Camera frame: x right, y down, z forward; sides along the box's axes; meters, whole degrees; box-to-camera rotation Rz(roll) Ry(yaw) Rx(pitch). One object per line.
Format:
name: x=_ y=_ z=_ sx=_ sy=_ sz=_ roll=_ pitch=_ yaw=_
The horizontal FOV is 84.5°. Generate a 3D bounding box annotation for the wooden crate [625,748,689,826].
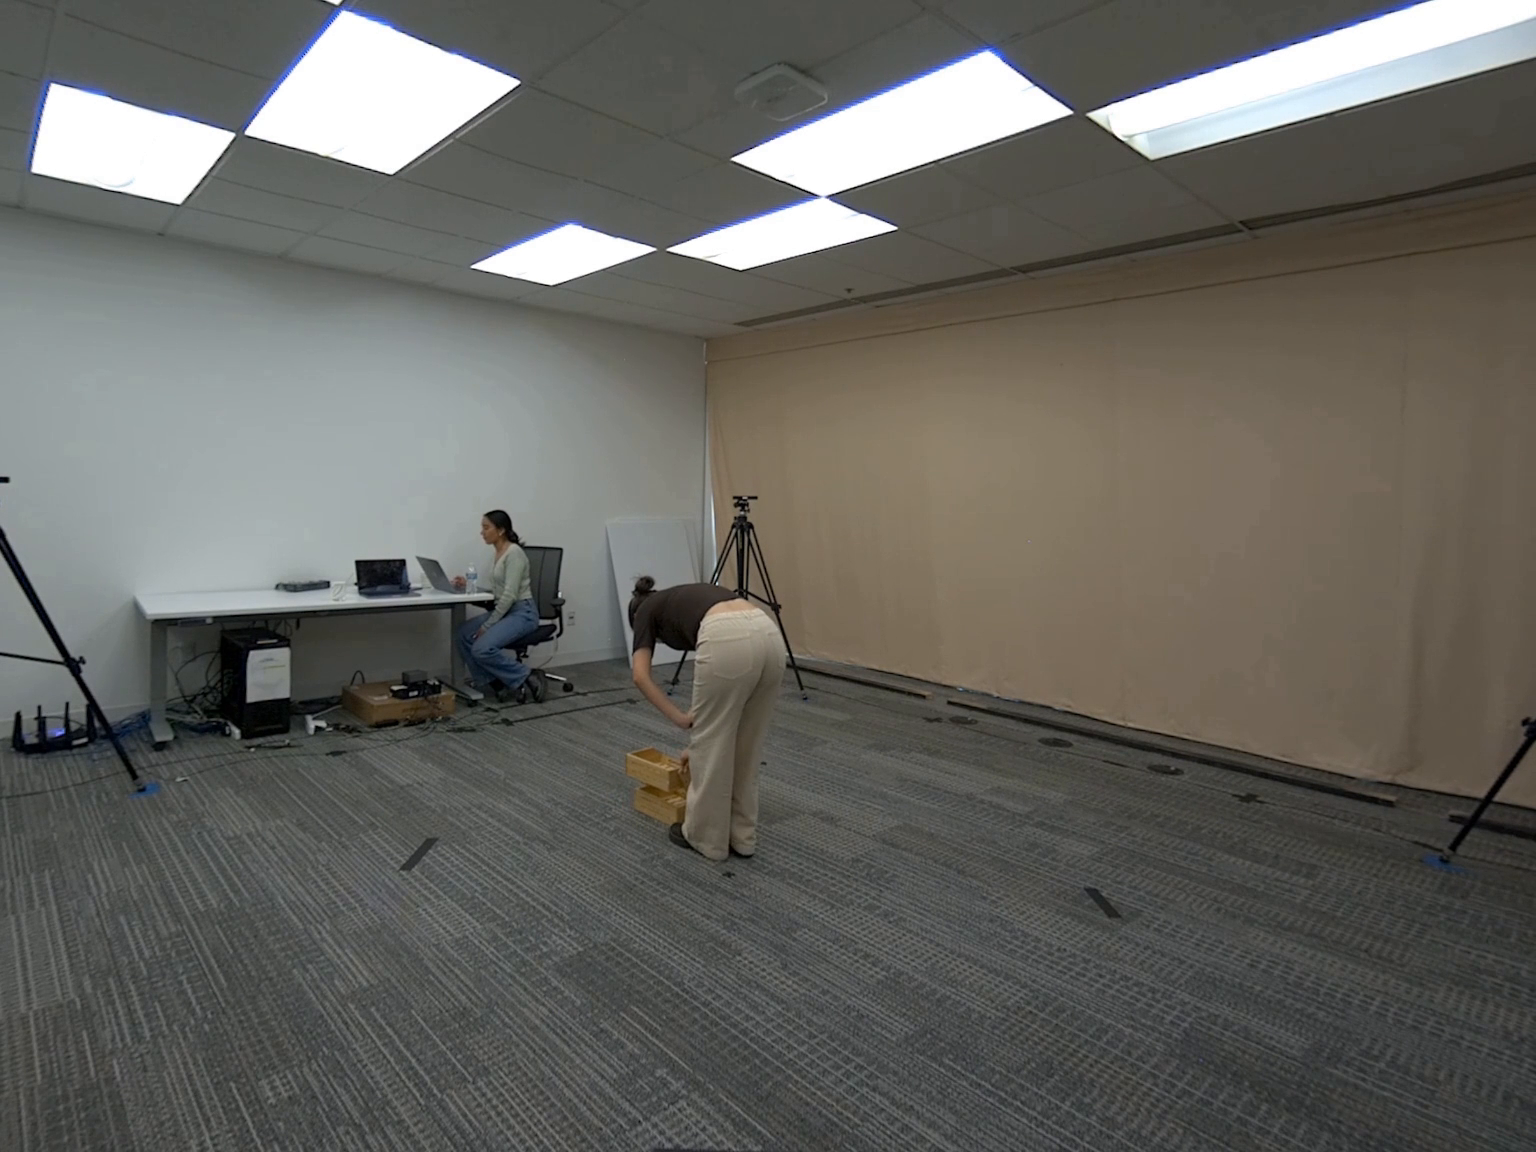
wooden crate: x=-0.422 y=0.908 z=3.693 sx=0.333 sy=0.272 sz=0.295 roll=6 pitch=7 yaw=45
